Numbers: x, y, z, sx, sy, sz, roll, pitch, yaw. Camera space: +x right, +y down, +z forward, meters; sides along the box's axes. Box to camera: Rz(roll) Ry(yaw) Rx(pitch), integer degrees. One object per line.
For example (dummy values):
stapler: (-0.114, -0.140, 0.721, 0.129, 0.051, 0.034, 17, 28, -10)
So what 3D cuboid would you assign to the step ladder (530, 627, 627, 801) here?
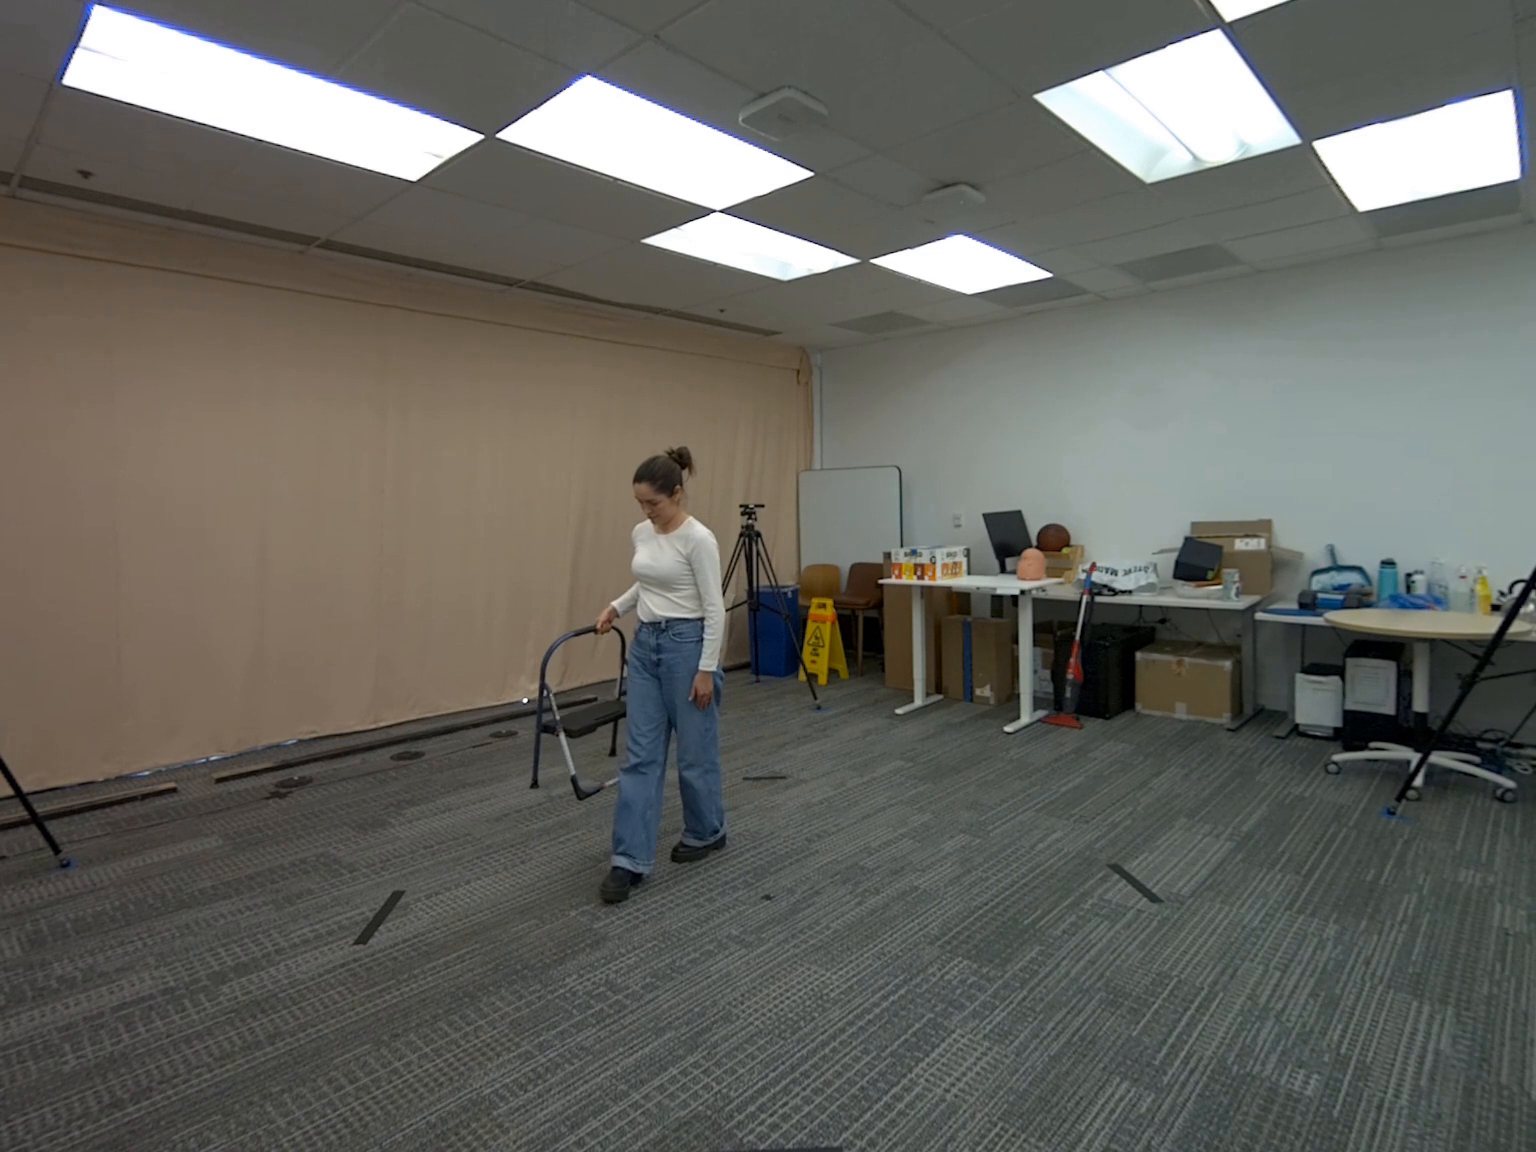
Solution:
step ladder: (-0.721, 0.507, 3.338, 0.360, 0.604, 0.419, -3, 7, 43)
